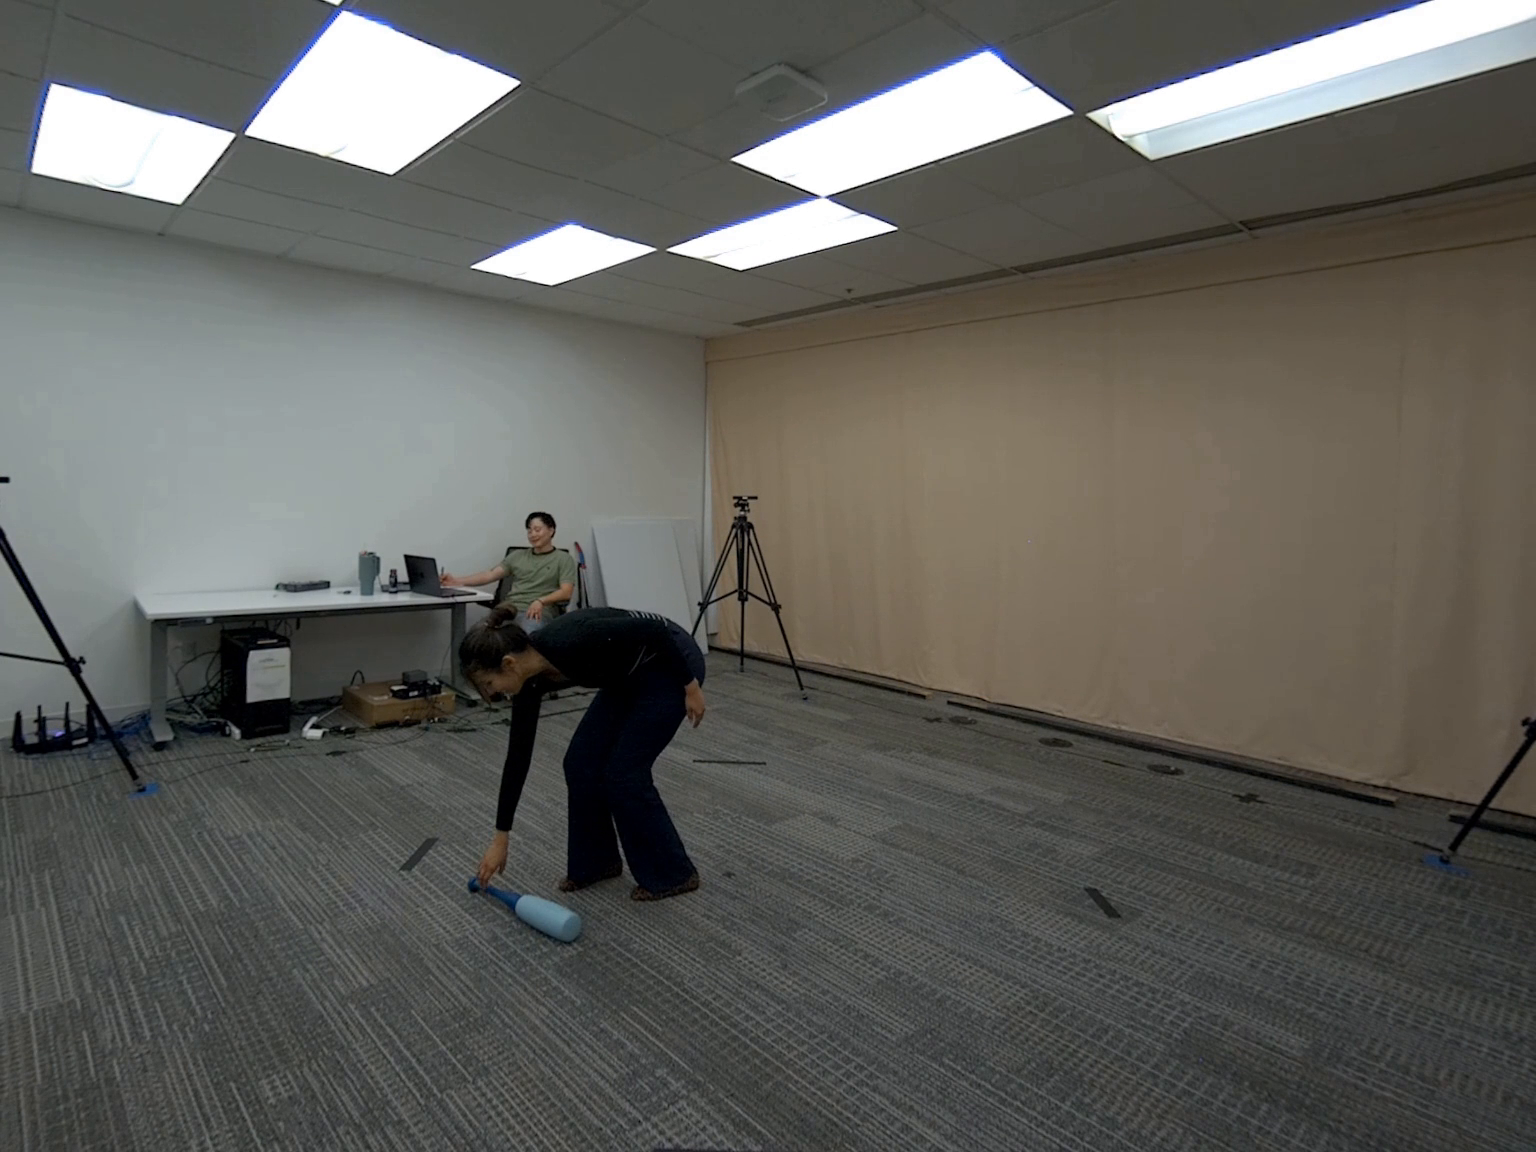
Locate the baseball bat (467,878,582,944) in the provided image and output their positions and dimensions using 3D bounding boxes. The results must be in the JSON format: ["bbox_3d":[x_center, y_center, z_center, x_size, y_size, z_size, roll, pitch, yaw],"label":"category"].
[{"bbox_3d":[-0.821,1.080,2.767,0.556,0.089,0.087,3,4,40],"label":"baseball bat"}]
